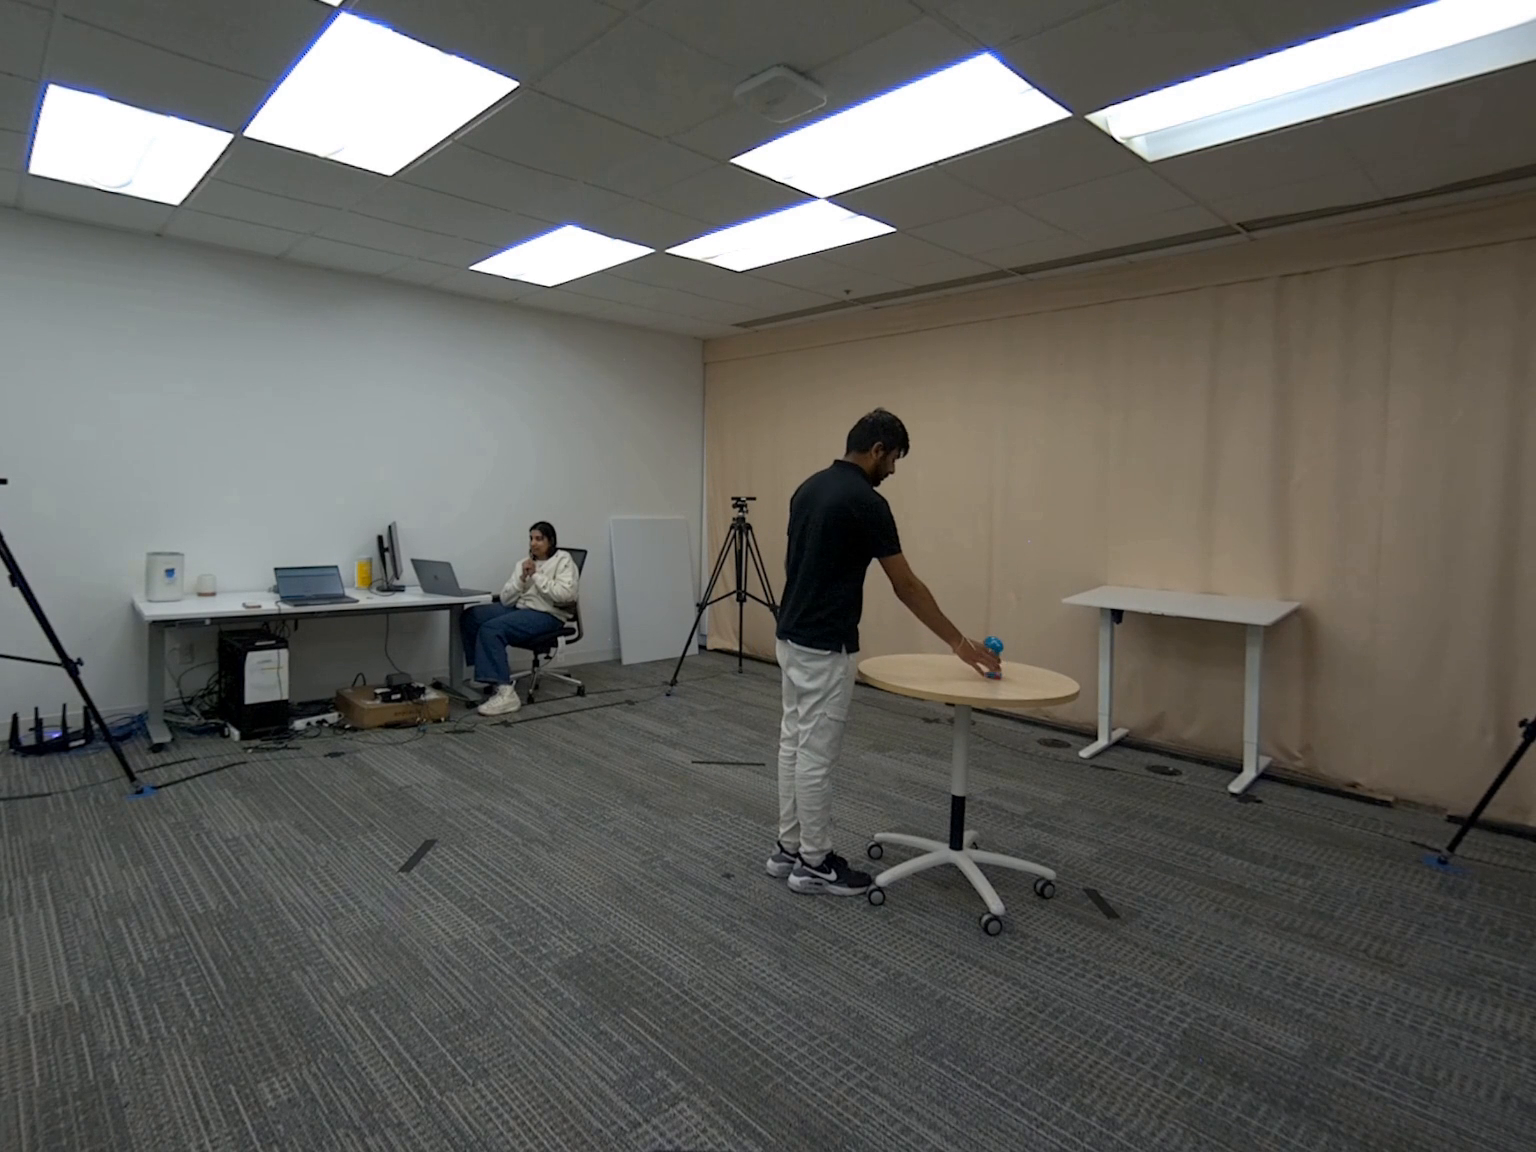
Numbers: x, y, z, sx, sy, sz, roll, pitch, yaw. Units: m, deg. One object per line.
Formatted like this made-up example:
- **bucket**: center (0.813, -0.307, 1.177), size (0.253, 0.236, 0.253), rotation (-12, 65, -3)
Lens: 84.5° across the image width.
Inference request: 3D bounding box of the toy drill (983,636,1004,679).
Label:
- **toy drill**: center (0.793, 0.283, 3.022), size (0.061, 0.146, 0.171), rotation (2, 3, -5)
